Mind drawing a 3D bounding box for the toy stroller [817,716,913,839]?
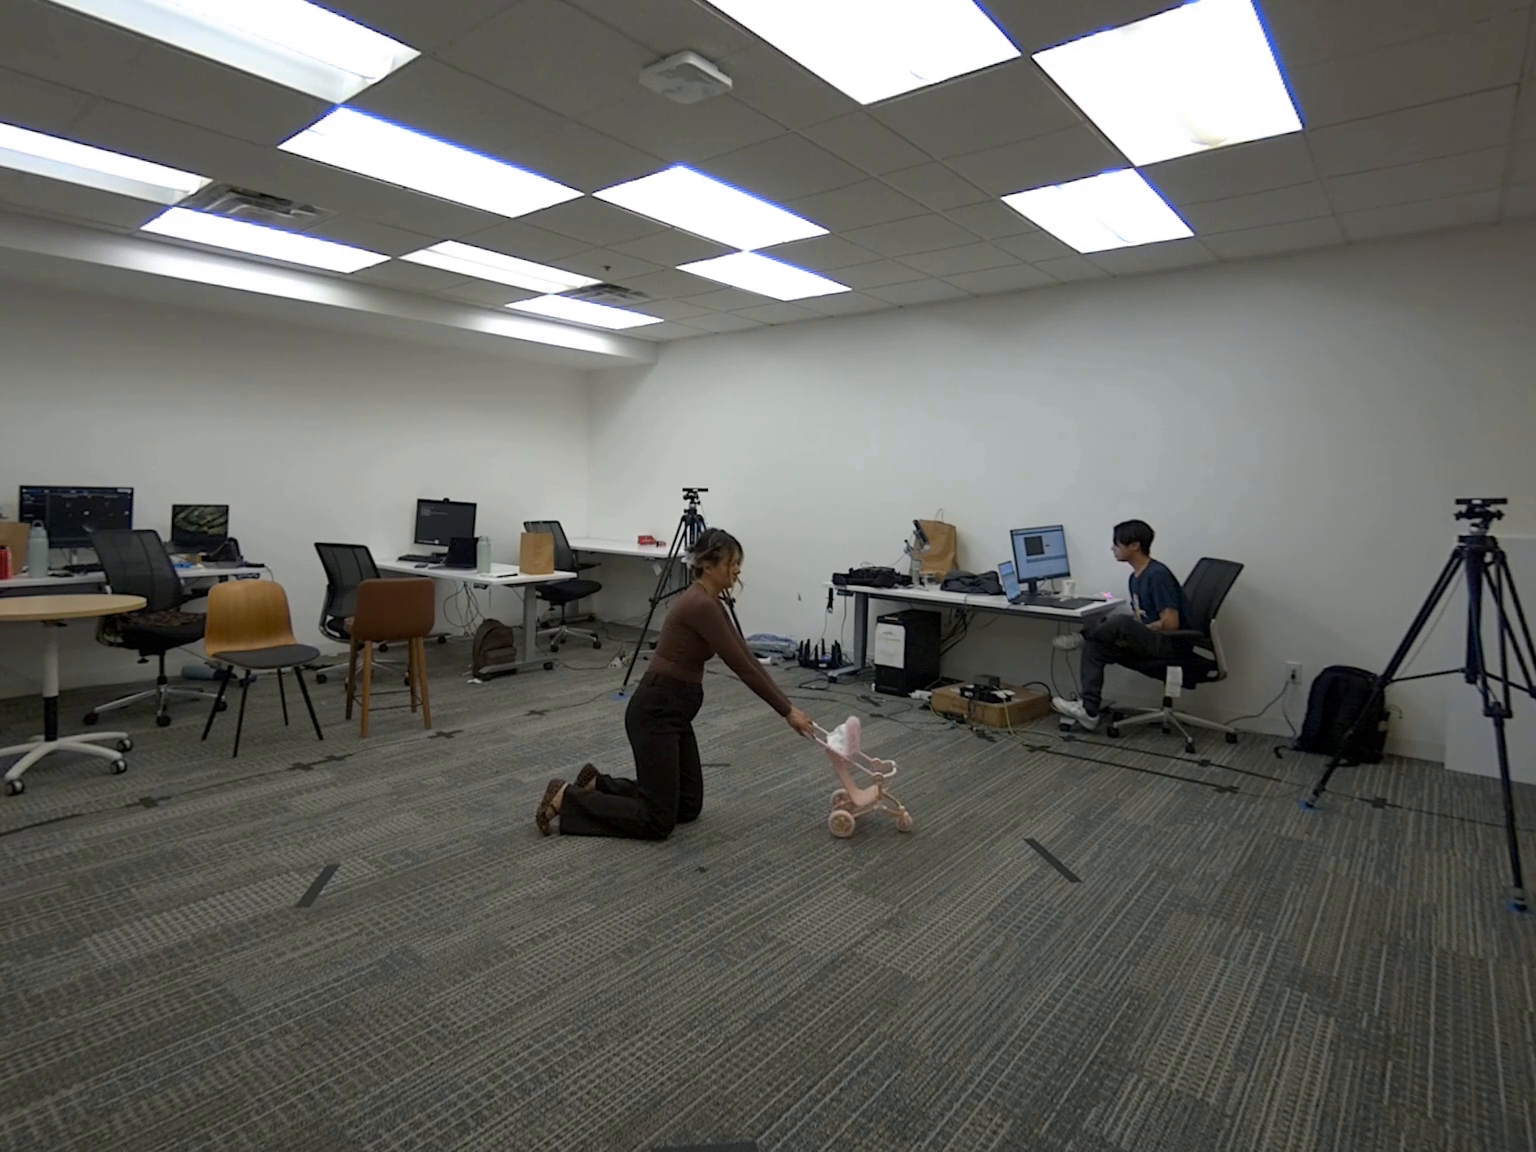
[{"bbox_3d":[0.361,0.816,3.525,0.345,0.536,0.278,-16,0,13],"label":"toy stroller"}]
